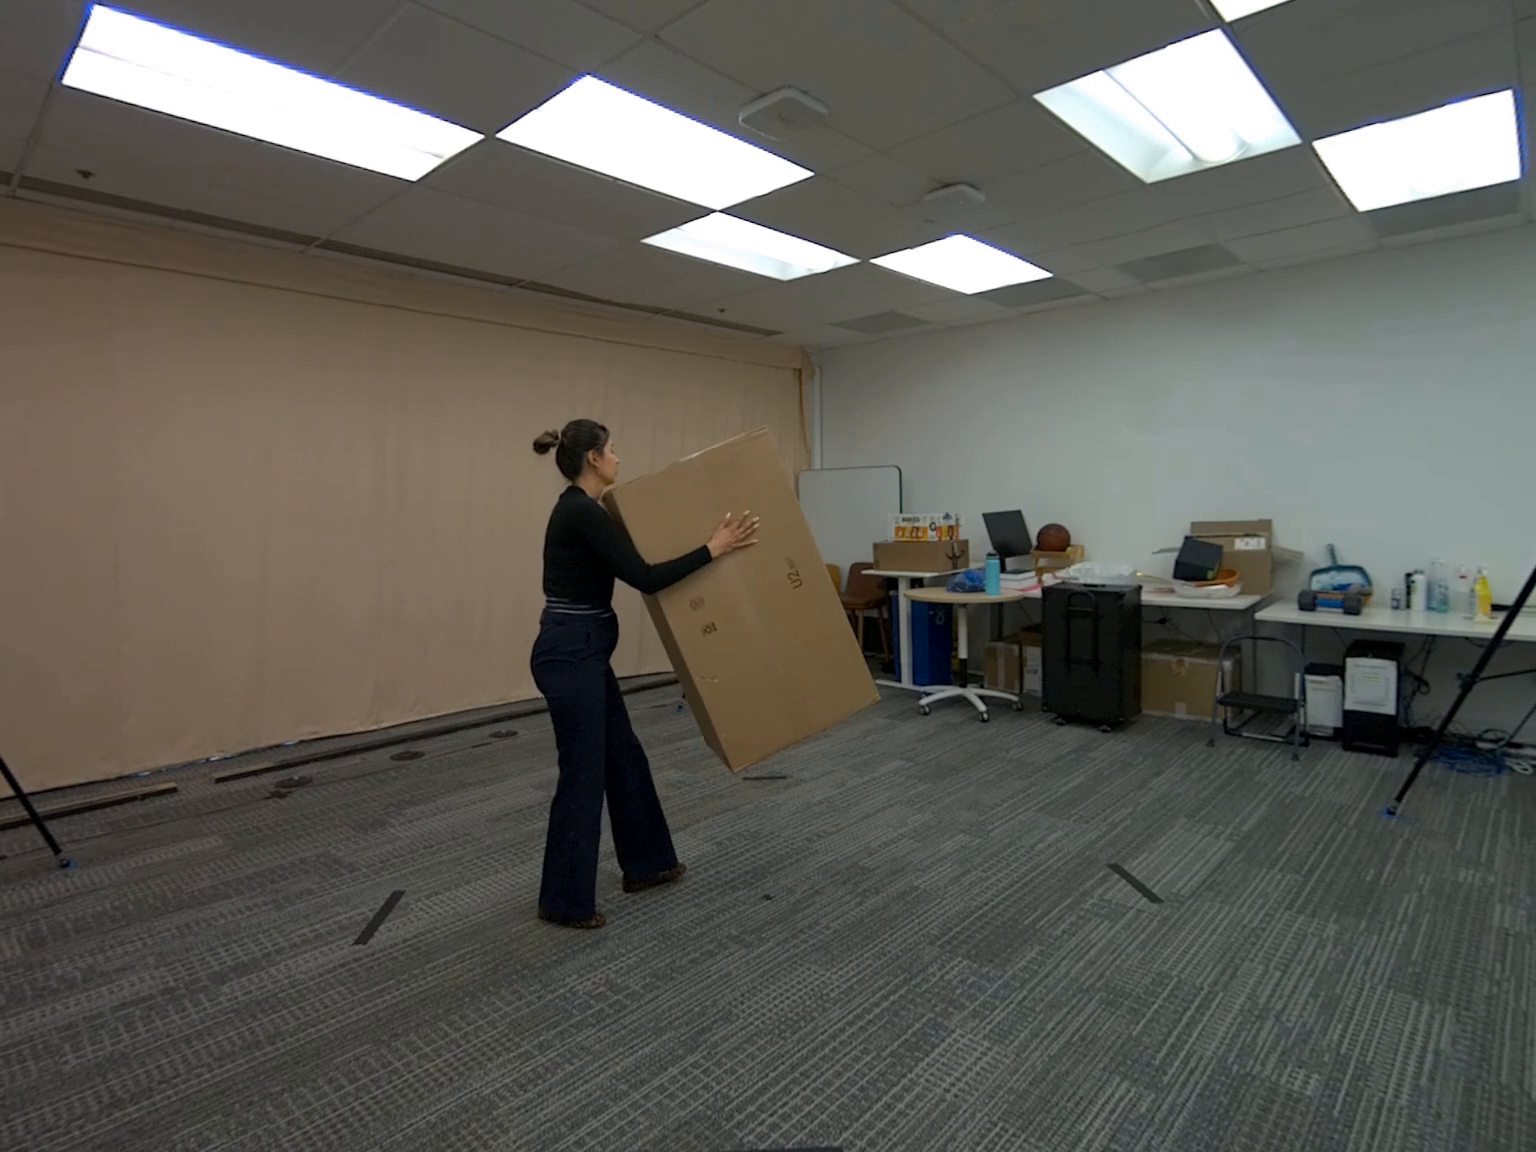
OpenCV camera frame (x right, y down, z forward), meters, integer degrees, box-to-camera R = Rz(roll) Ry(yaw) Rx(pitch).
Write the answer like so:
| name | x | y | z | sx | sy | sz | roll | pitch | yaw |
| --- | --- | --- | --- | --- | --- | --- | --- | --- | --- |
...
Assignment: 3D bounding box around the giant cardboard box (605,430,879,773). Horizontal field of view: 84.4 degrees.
| name | x | y | z | sx | sy | sz | roll | pitch | yaw |
| --- | --- | --- | --- | --- | --- | --- | --- | --- | --- |
| giant cardboard box | -0.110 | 0.072 | 2.999 | 0.572 | 1.021 | 0.432 | -24 | 5 | -13 |
